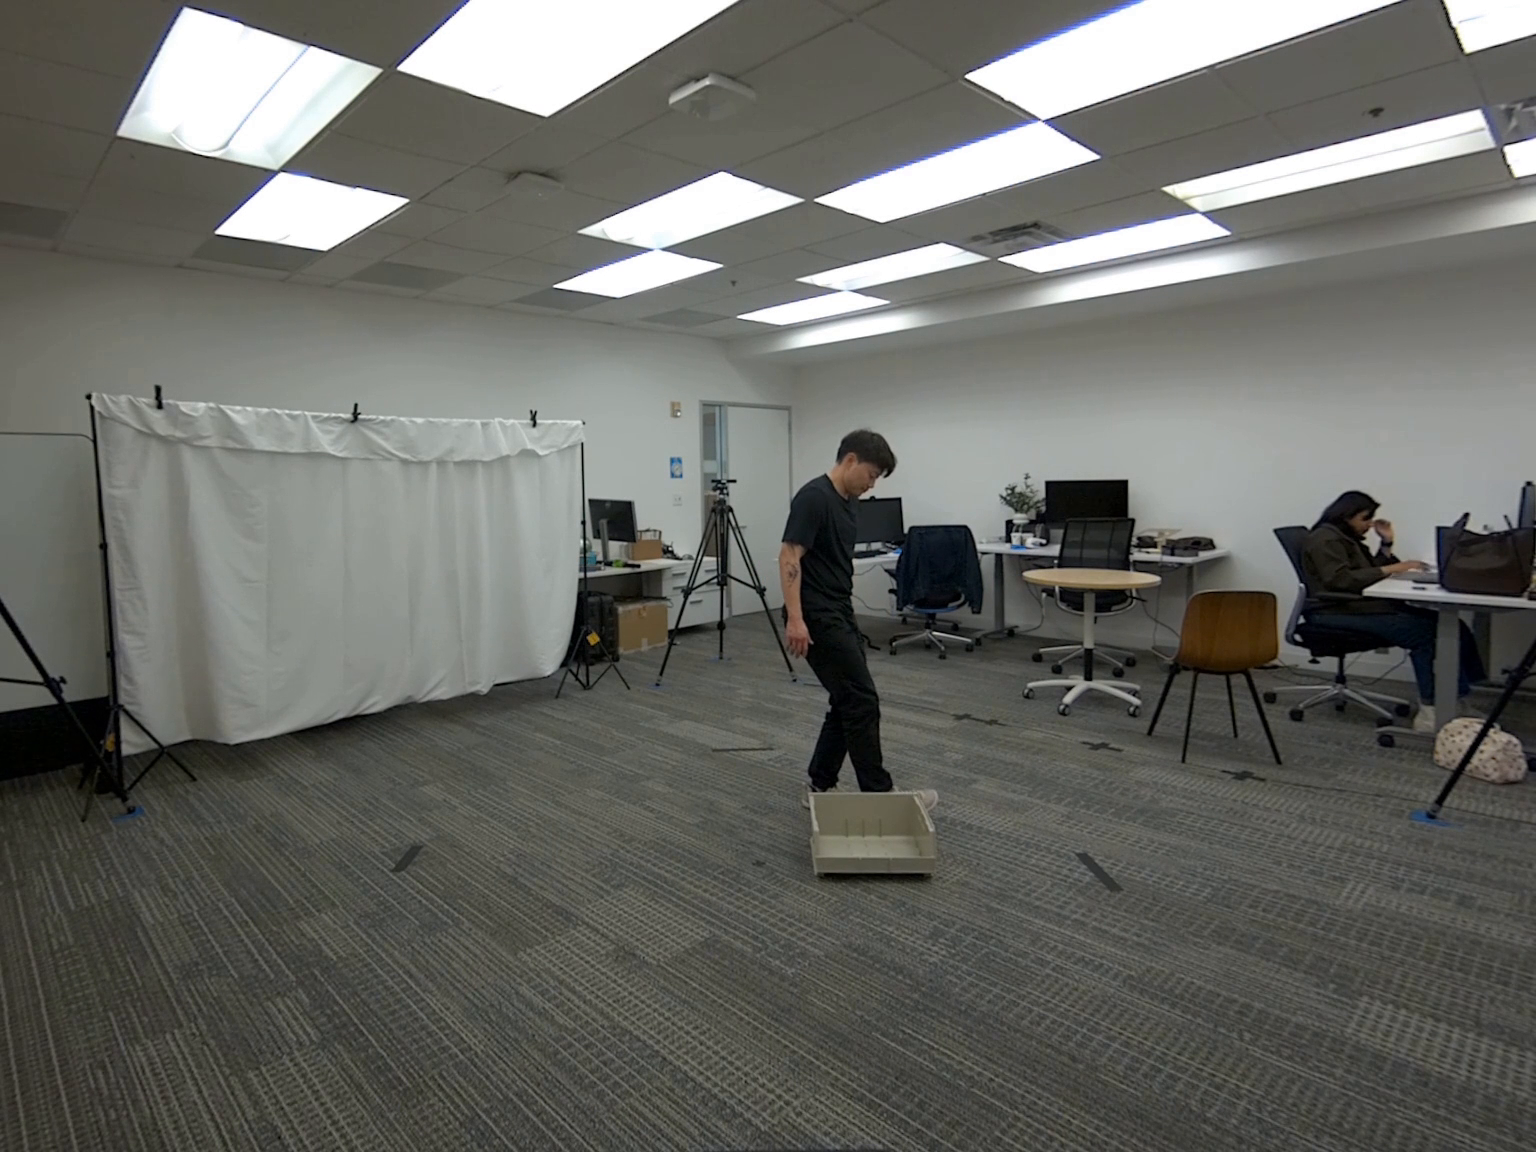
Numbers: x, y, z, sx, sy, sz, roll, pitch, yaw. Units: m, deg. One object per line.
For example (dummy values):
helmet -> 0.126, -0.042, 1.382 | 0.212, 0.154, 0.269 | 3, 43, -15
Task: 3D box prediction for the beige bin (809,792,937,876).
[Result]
beige bin -> 0.372, 0.950, 3.125 | 0.423, 0.188, 0.378 | -2, 5, 1
